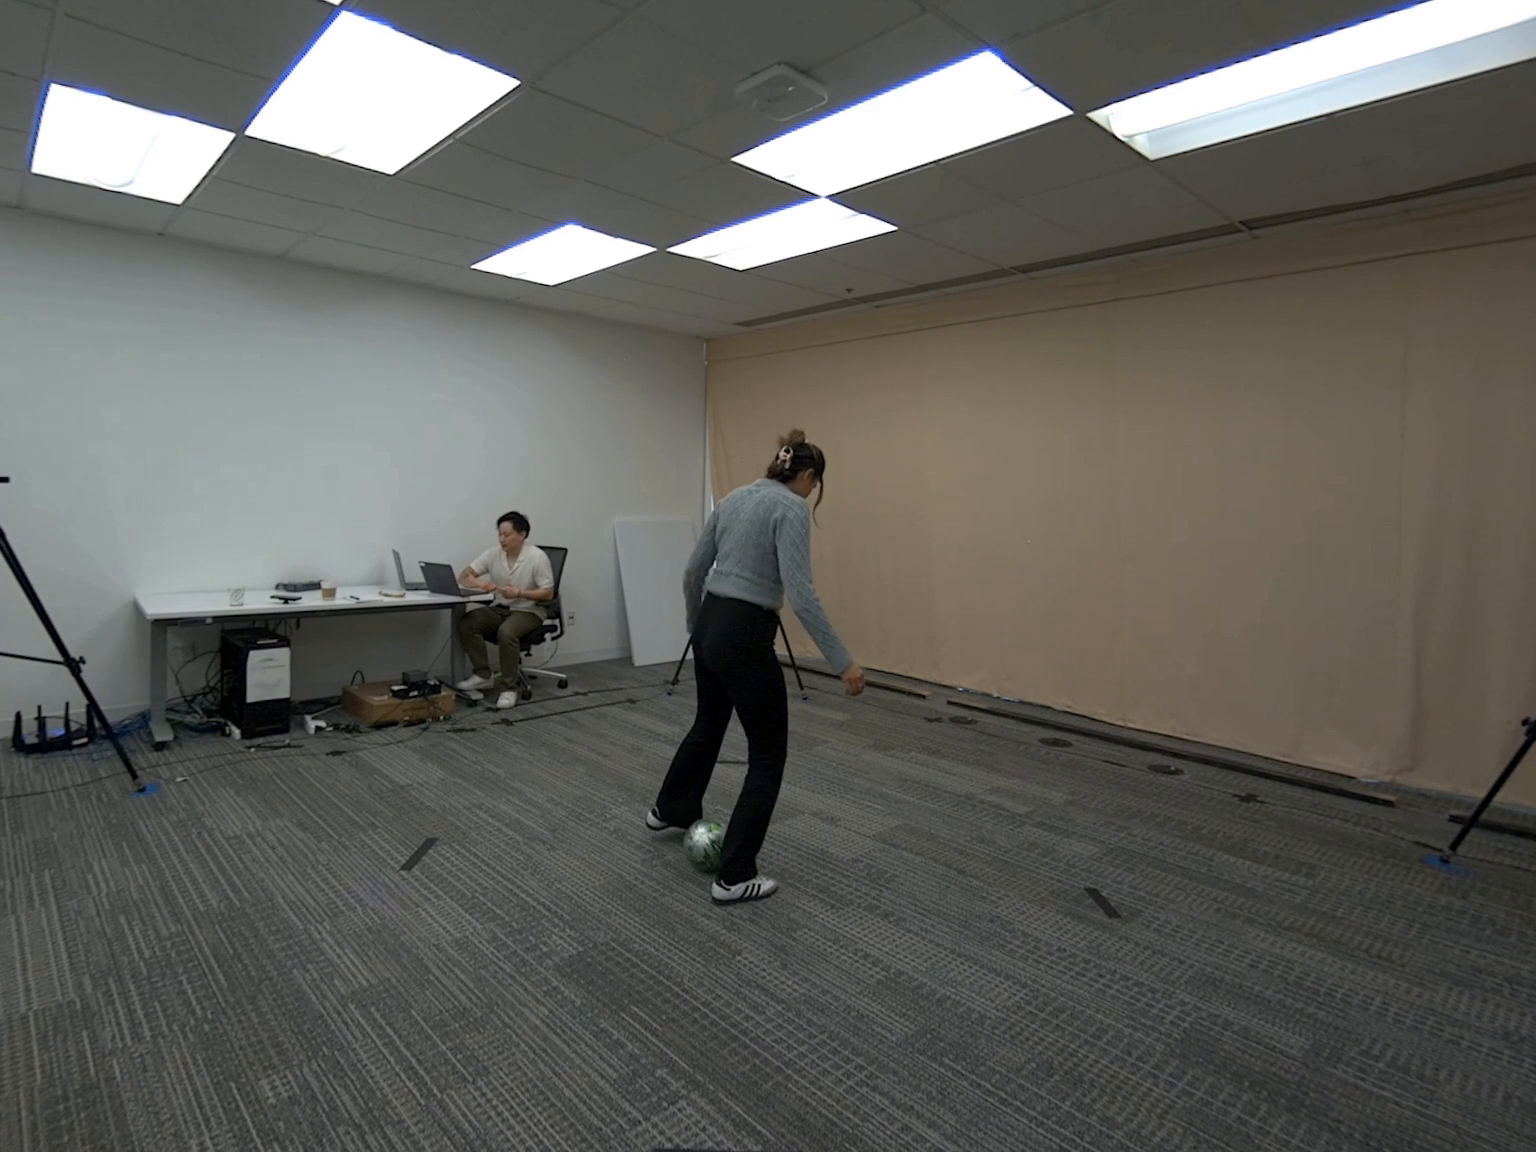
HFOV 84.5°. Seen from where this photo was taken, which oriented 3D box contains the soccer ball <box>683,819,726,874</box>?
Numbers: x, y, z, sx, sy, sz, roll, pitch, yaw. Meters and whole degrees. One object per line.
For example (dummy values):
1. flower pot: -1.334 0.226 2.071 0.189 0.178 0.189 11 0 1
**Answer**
1. soccer ball: -0.225 1.004 3.133 0.187 0.187 0.188 1 4 -1
